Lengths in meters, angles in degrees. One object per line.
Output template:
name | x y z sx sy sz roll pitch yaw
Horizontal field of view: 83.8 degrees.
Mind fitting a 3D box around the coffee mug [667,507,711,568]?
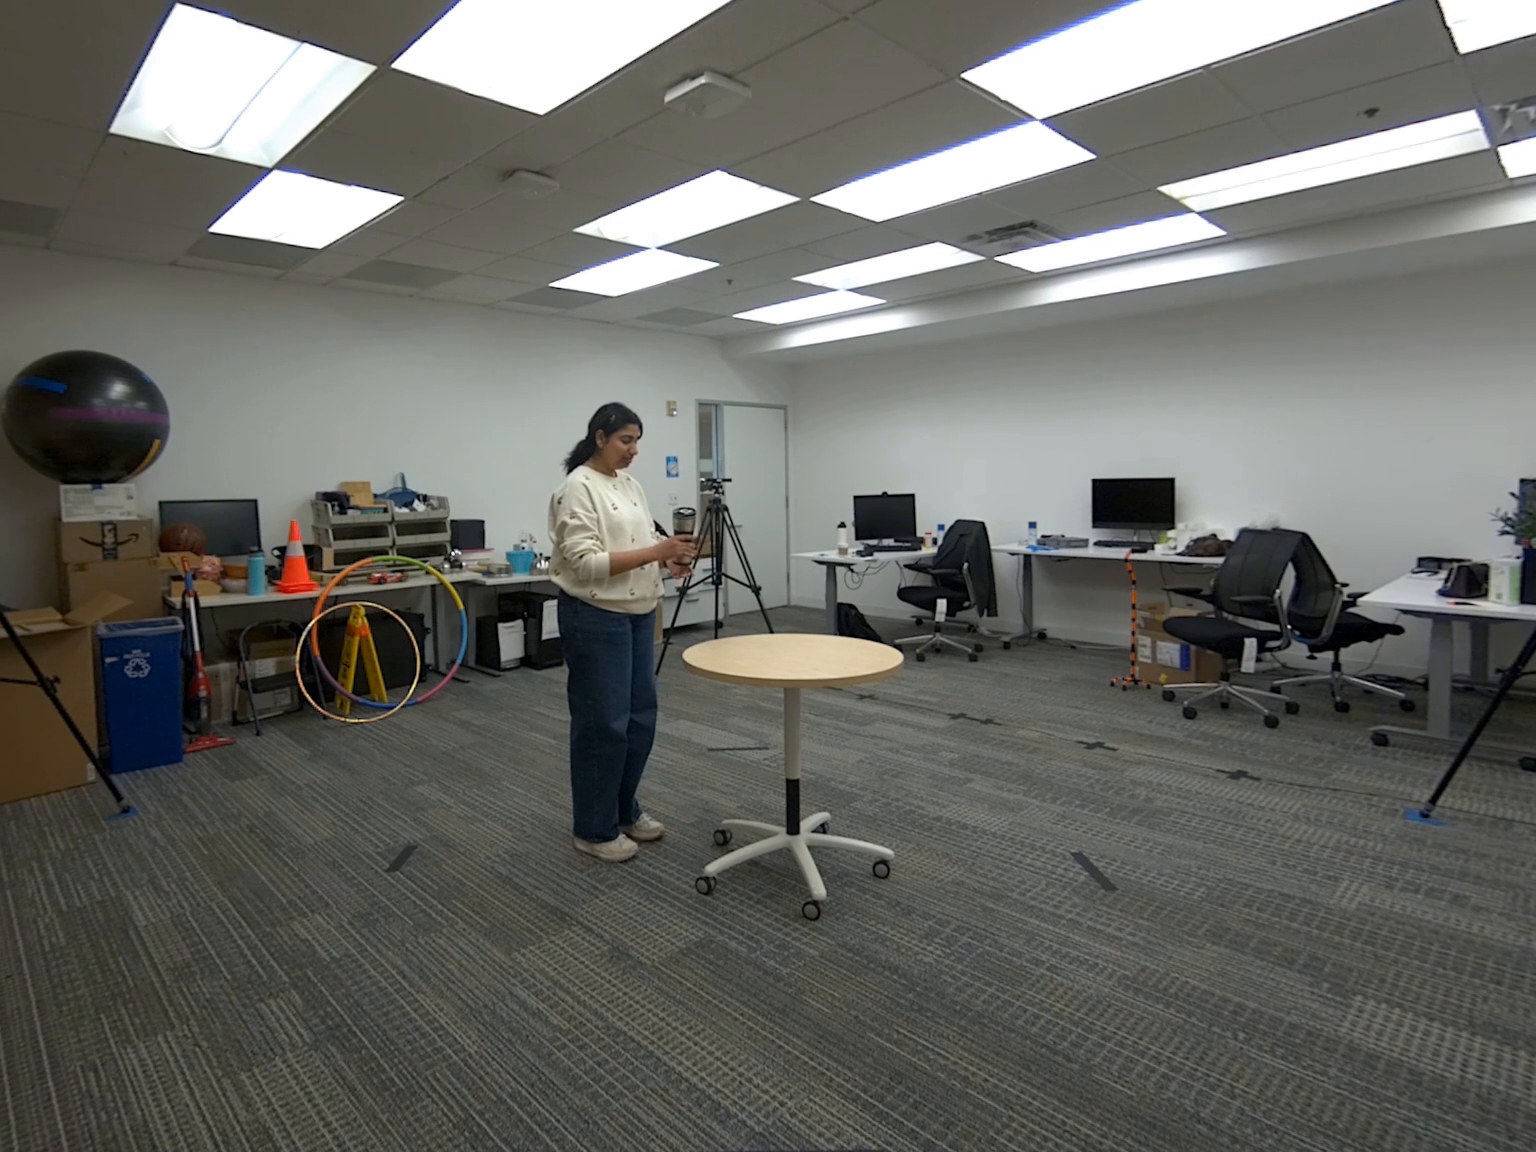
coffee mug | -0.292 -0.141 3.147 0.120 0.201 0.090 -7 12 -16
